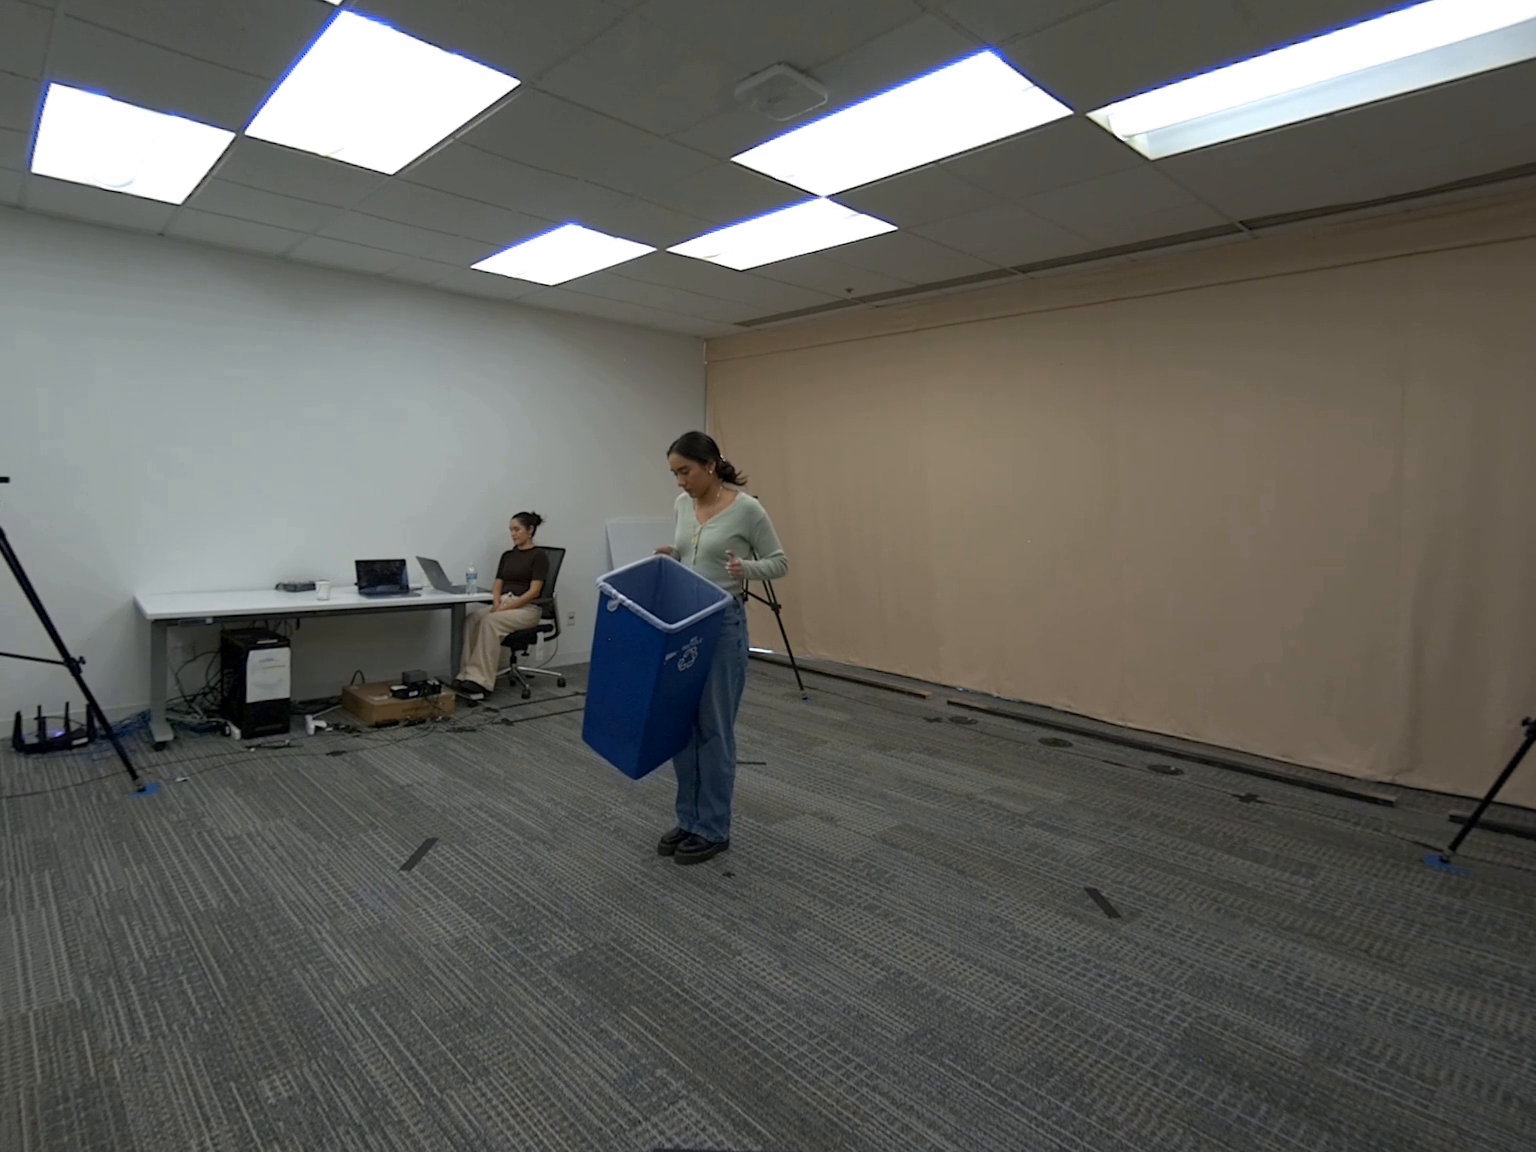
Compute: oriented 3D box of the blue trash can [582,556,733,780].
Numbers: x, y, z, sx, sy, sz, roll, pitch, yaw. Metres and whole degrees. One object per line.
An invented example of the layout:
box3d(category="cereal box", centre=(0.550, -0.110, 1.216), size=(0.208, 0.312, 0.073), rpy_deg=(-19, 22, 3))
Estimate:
box3d(category="blue trash can", centre=(-0.448, 0.345, 3.113), size=(0.388, 0.704, 0.369), rpy_deg=(30, 31, 27))
